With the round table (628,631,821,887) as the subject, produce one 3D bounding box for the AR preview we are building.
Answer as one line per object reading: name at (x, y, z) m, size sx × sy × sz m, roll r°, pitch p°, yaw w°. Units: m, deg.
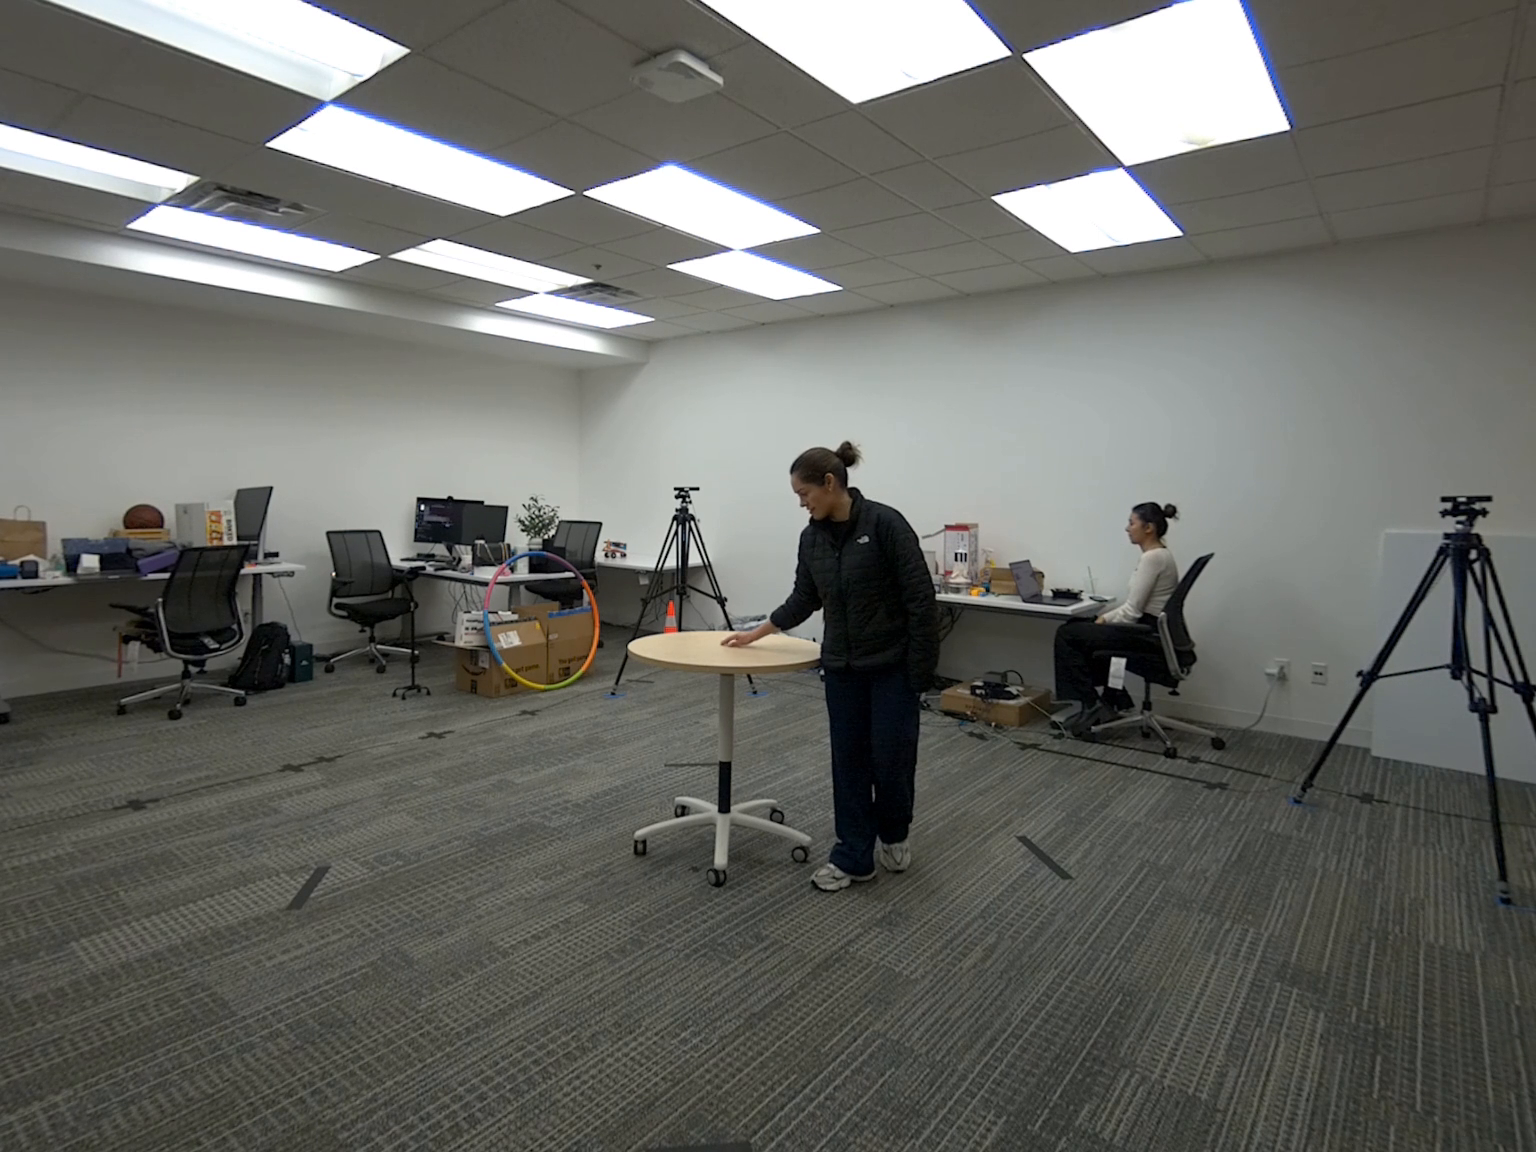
round table at (-0.140, 0.656, 3.286) m, size 0.784 × 0.784 × 0.789 m, roll 1°, pitch 4°, yaw -2°
